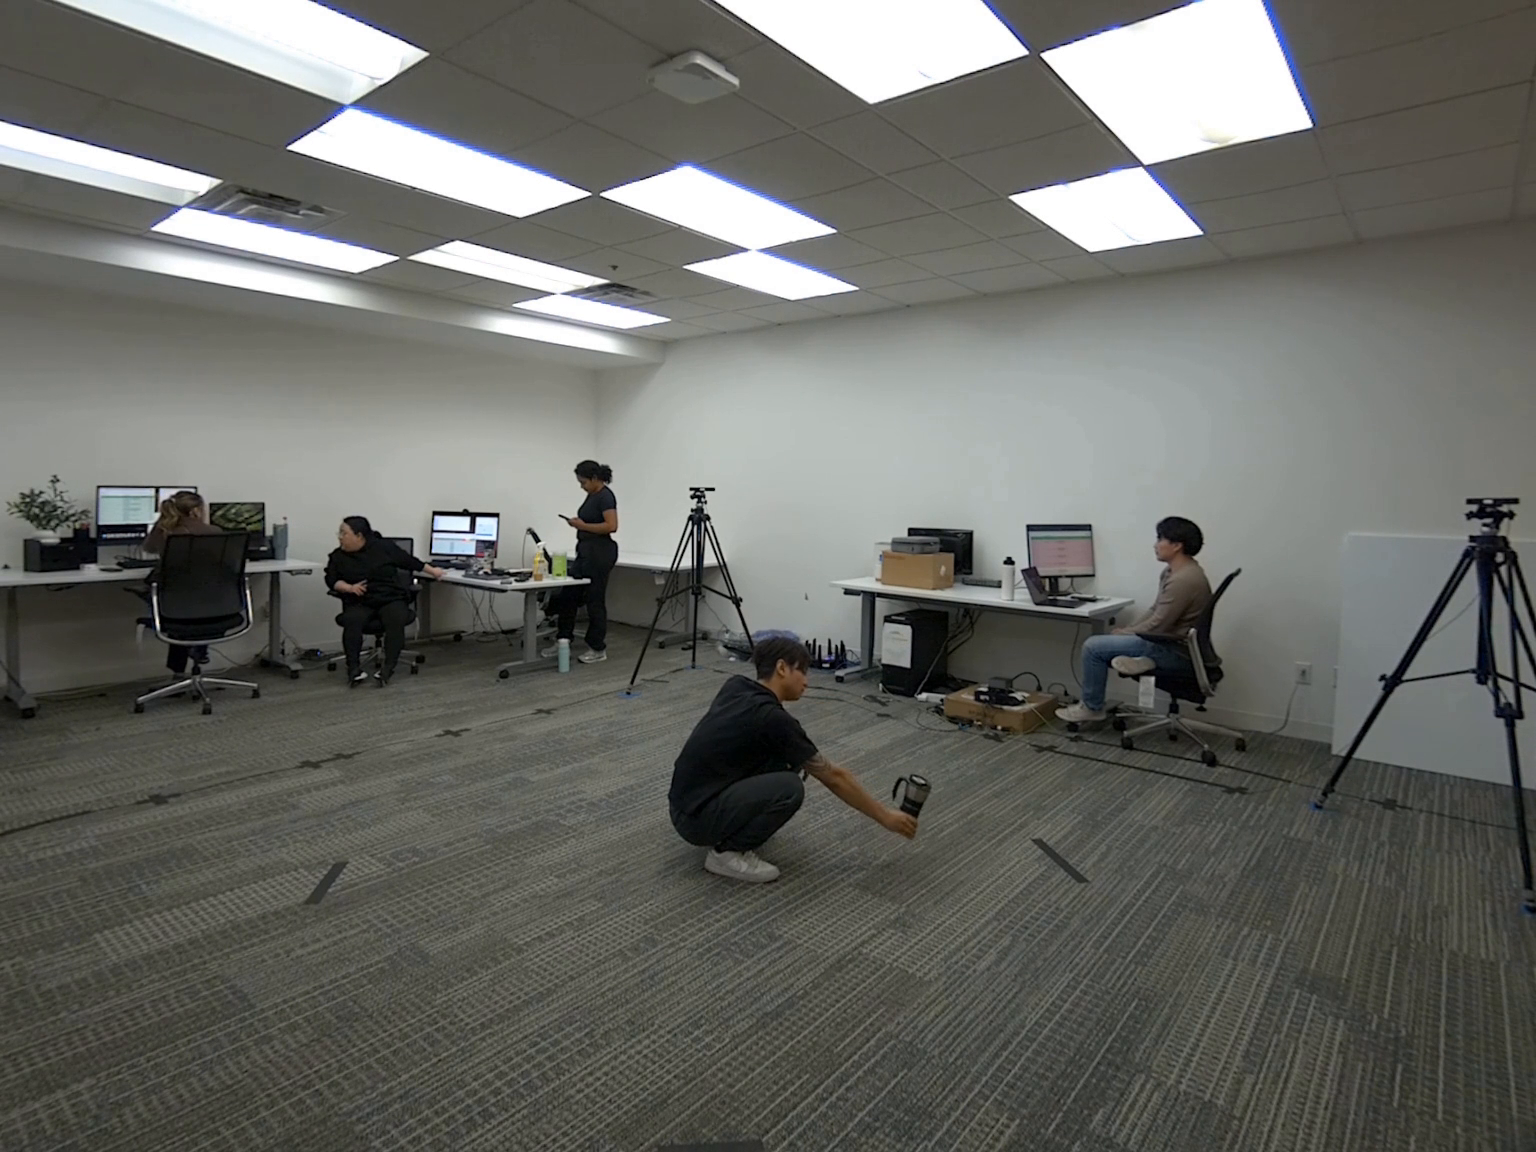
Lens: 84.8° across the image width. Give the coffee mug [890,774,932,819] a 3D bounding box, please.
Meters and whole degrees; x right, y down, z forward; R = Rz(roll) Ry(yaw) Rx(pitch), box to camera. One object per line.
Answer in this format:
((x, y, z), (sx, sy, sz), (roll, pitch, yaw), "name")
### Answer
((0.511, 0.836, 3.165), (0.126, 0.202, 0.085), (24, 11, 26), "coffee mug")
